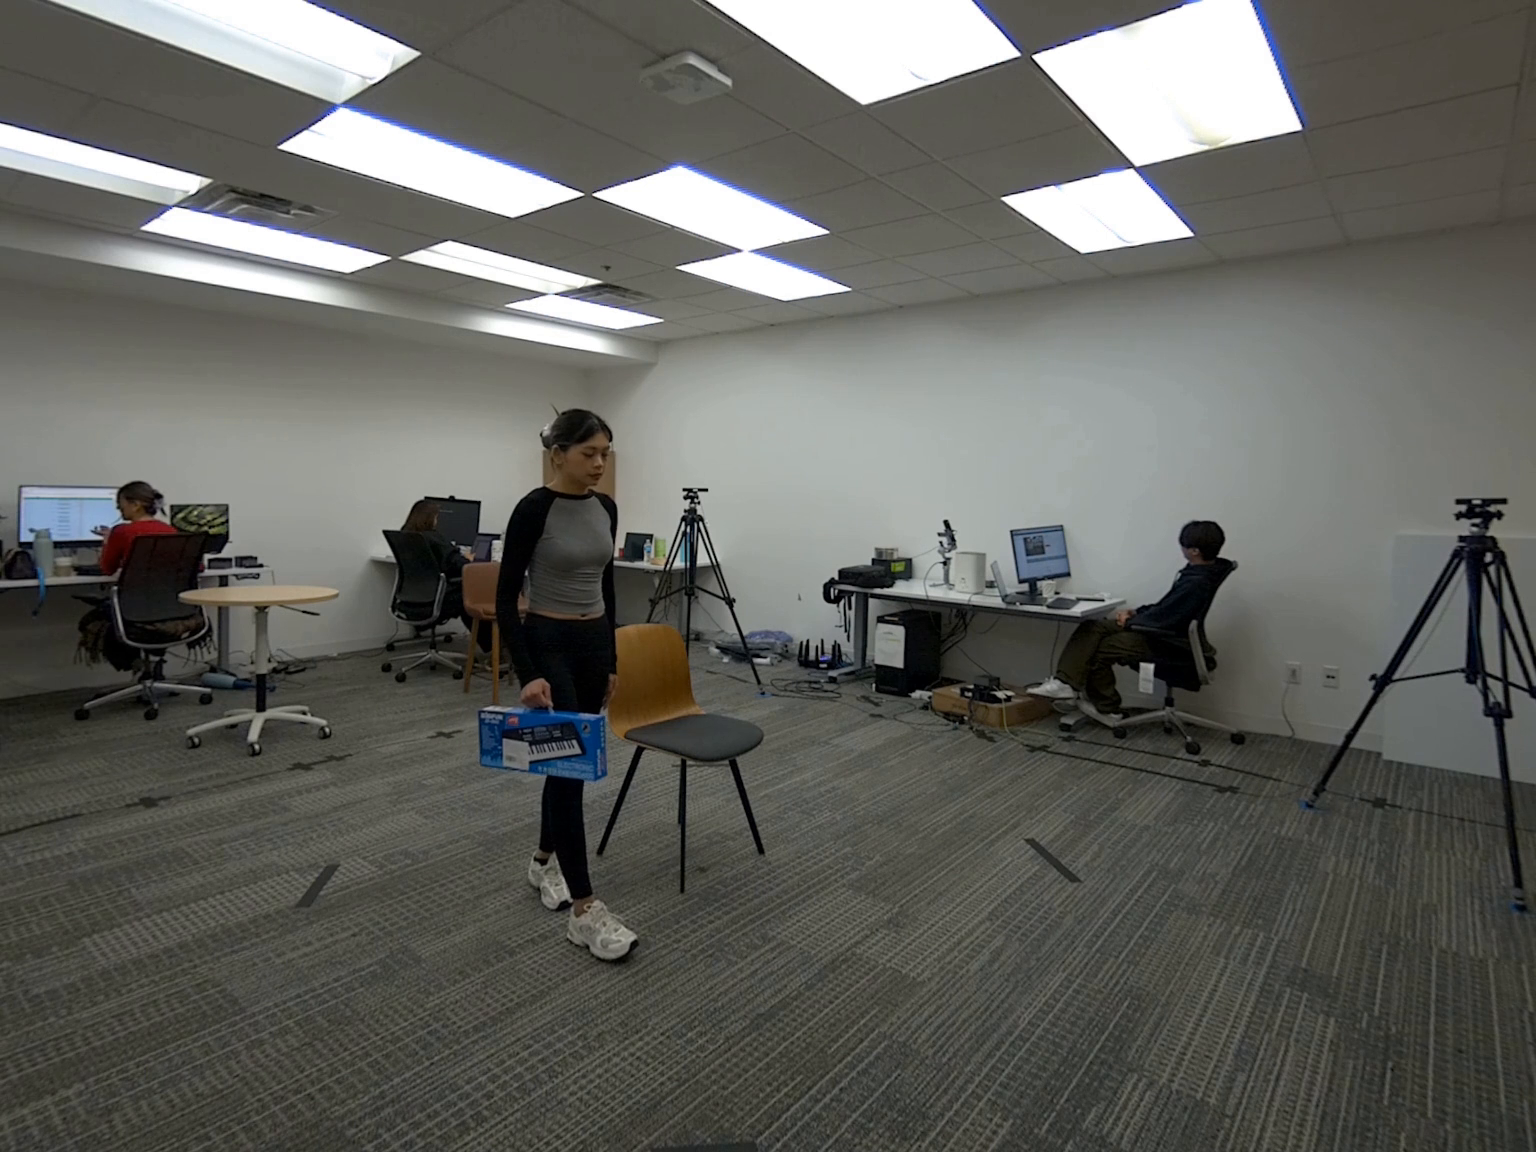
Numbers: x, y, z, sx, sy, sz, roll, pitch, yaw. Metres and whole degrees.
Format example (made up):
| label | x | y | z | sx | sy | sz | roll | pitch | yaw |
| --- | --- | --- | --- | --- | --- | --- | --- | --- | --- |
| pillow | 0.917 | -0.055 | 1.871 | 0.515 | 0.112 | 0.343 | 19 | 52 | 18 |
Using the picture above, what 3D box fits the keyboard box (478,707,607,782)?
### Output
| label | x | y | z | sx | sy | sz | roll | pitch | yaw |
| --- | --- | --- | --- | --- | --- | --- | --- | --- | --- |
| keyboard box | -0.675 | 0.482 | 2.487 | 0.448 | 0.176 | 0.057 | -1 | 1 | 29 |
